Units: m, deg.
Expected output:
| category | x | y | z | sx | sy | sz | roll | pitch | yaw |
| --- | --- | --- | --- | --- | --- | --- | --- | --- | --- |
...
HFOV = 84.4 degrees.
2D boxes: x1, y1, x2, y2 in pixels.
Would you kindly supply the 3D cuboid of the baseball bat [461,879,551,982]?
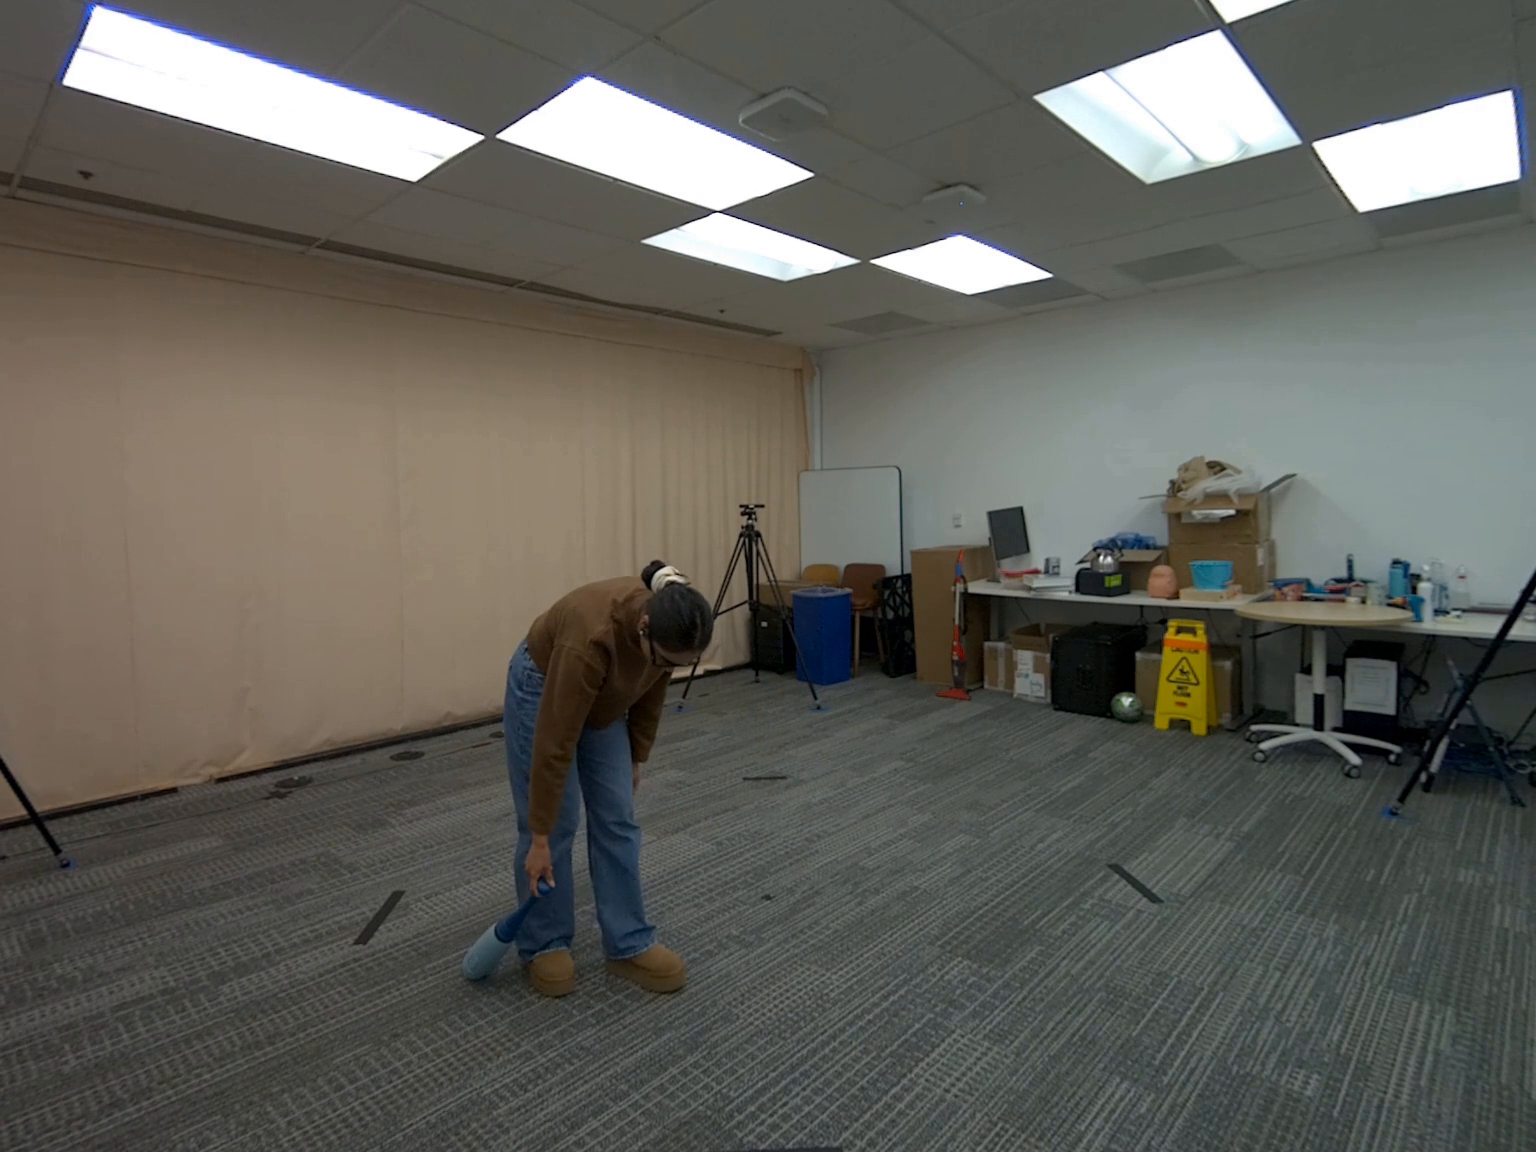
| category | x | y | z | sx | sy | sz | roll | pitch | yaw |
| --- | --- | --- | --- | --- | --- | --- | --- | --- | --- |
| baseball bat | -0.739 | 1.005 | 2.385 | 0.086 | 0.091 | 0.545 | -4 | -37 | -46 |
